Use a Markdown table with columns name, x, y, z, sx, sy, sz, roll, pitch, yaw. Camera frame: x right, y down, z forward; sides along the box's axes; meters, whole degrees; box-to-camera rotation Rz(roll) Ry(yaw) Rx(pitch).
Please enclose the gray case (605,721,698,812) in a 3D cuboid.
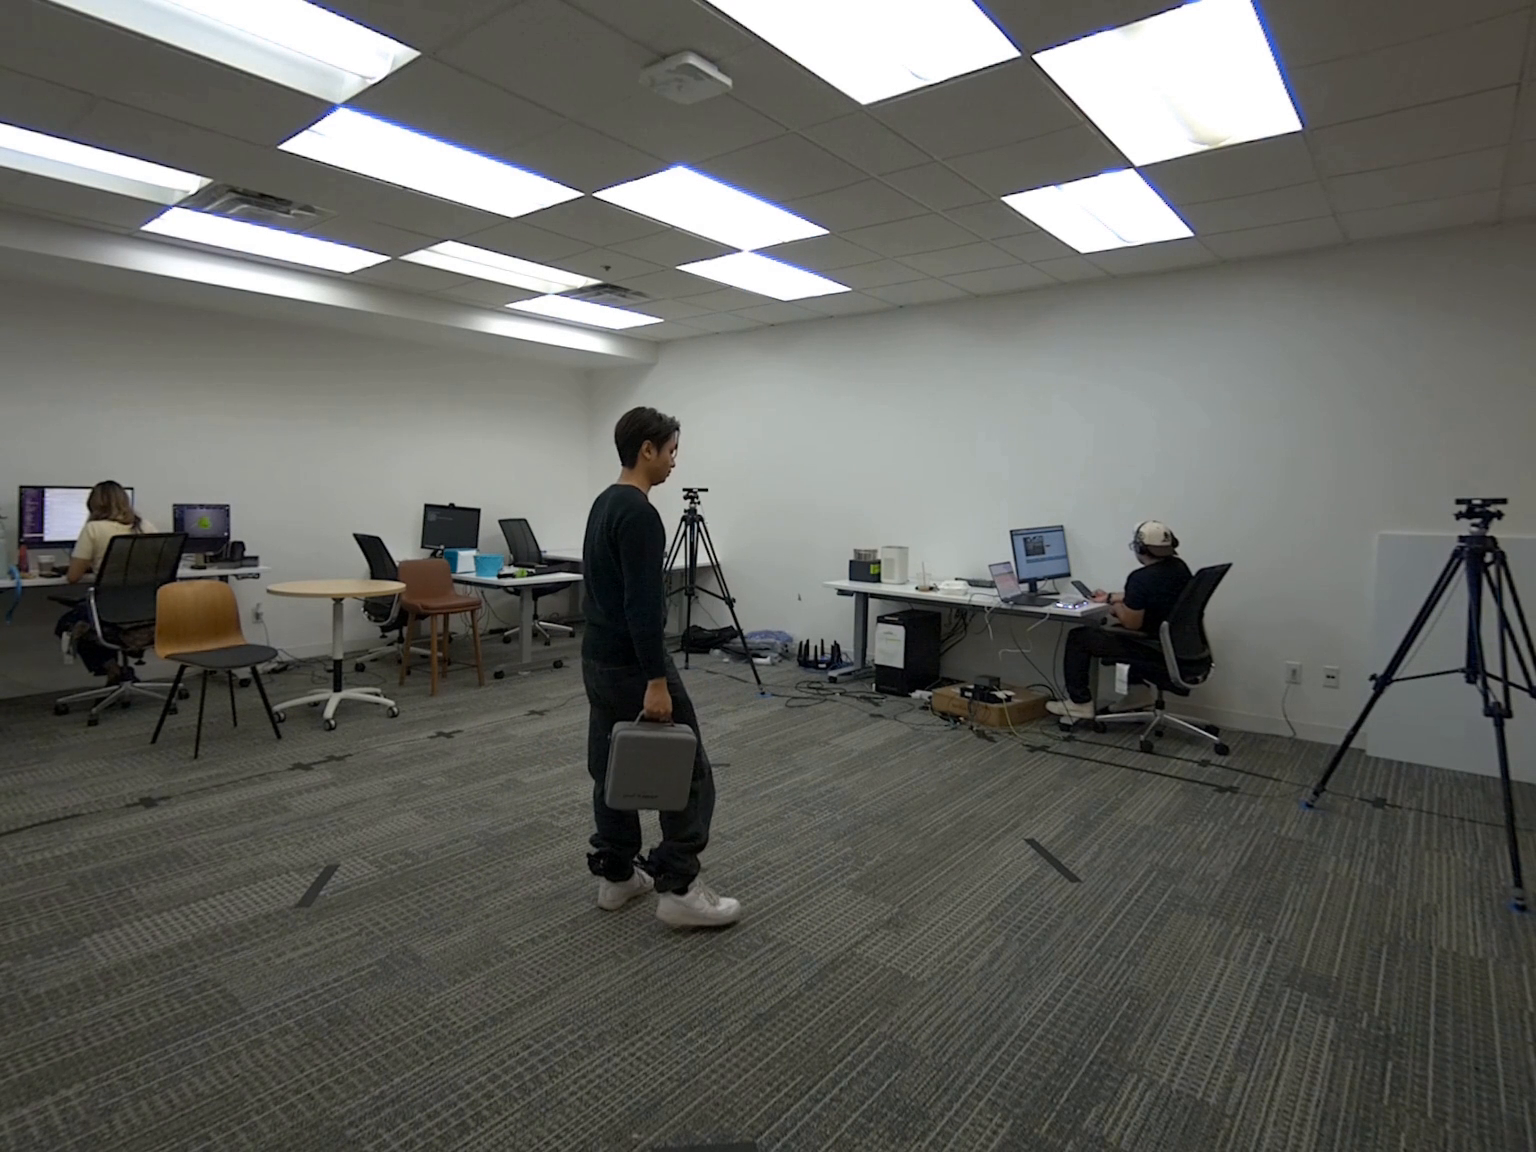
| name | x | y | z | sx | sy | sz | roll | pitch | yaw |
| --- | --- | --- | --- | --- | --- | --- | --- | --- | --- |
| gray case | -0.372 | 0.570 | 2.584 | 0.253 | 0.259 | 0.107 | 6 | 9 | -15 |
